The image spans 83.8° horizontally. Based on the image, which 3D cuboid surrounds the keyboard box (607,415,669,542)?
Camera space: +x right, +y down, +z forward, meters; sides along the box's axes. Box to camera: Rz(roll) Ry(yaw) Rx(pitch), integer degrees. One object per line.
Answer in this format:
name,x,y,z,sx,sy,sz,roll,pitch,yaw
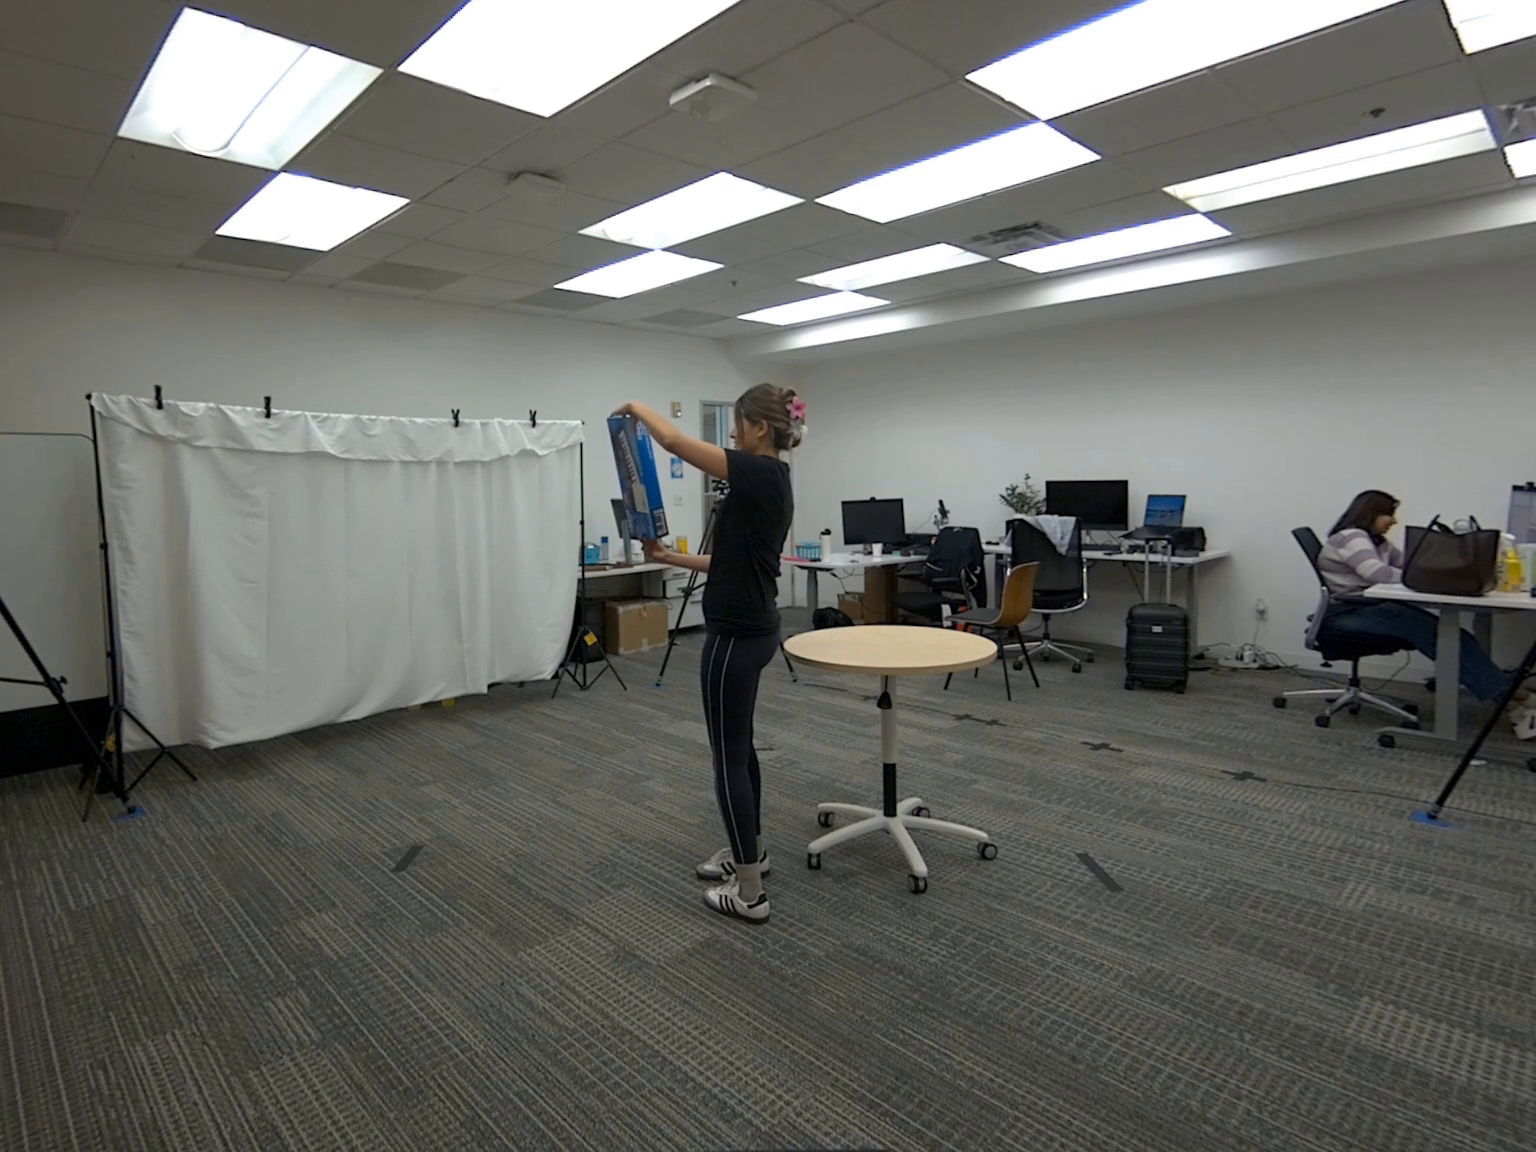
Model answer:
keyboard box,-0.457,-0.354,3.024,0.058,0.431,0.181,-19,16,-37
